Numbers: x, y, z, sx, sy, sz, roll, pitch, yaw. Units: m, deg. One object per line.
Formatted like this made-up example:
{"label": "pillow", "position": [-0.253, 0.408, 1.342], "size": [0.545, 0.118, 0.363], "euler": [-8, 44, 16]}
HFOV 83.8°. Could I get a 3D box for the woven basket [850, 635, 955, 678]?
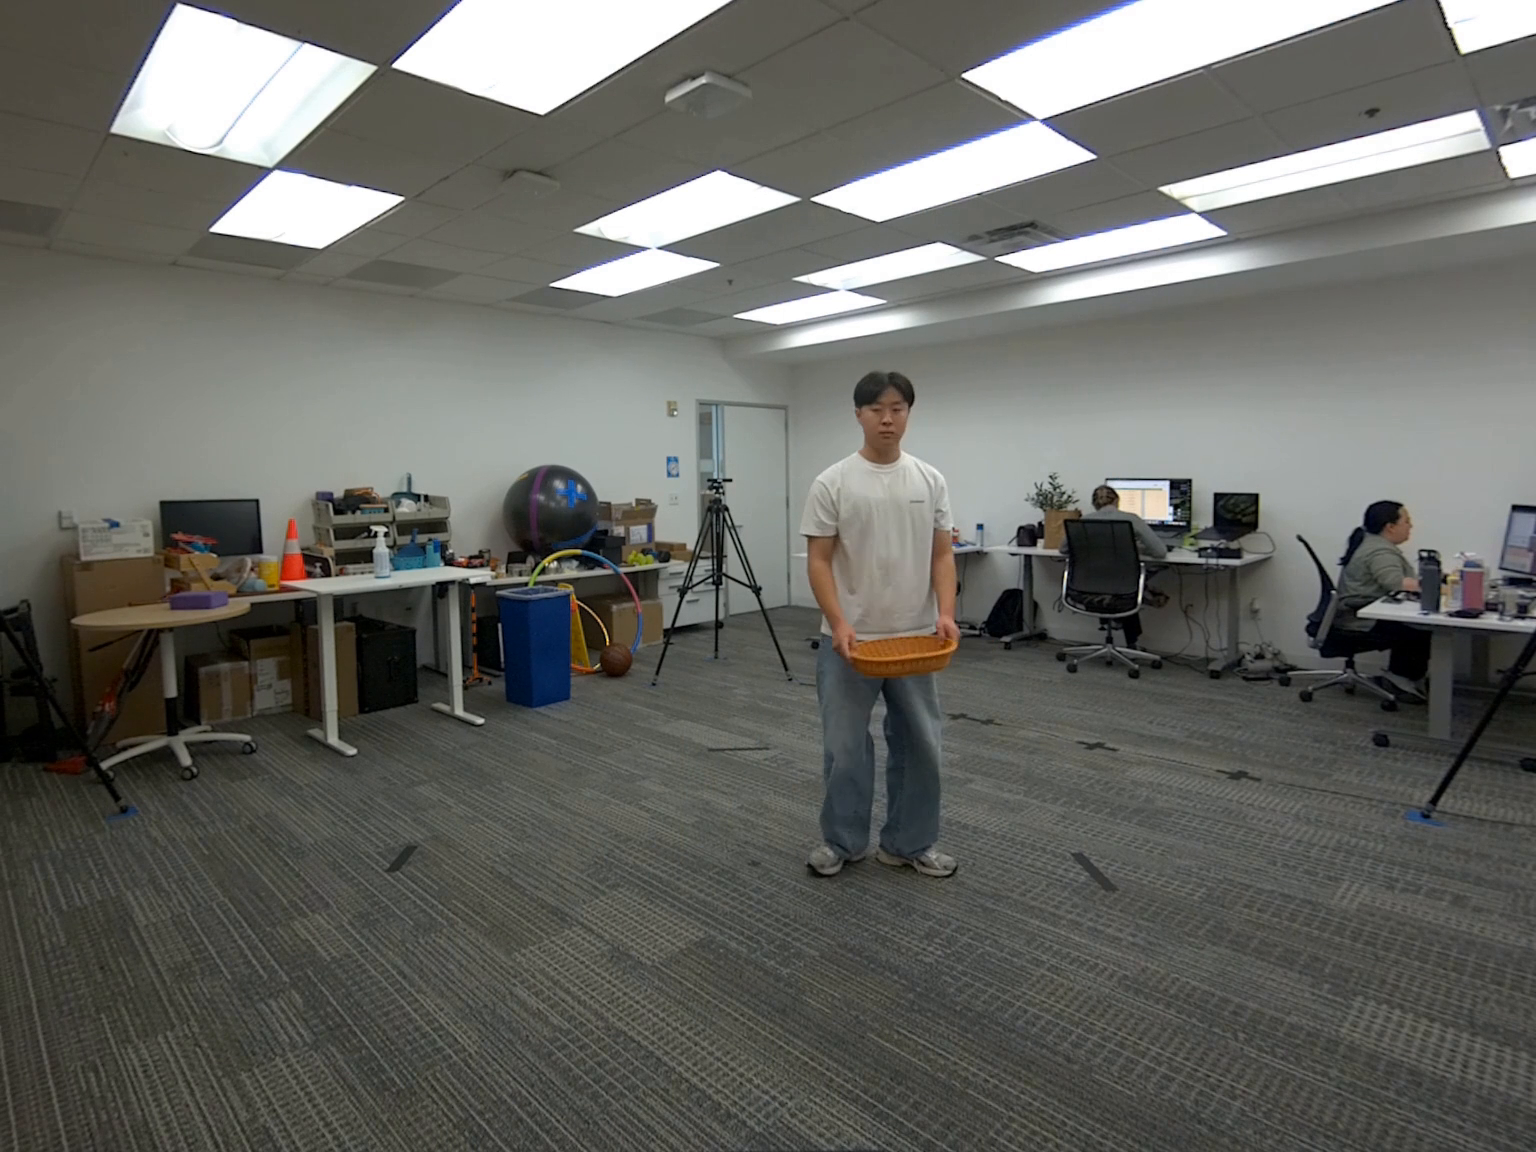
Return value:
{"label": "woven basket", "position": [0.424, 0.261, 2.738], "size": [0.348, 0.073, 0.256], "euler": [-9, 11, -8]}
